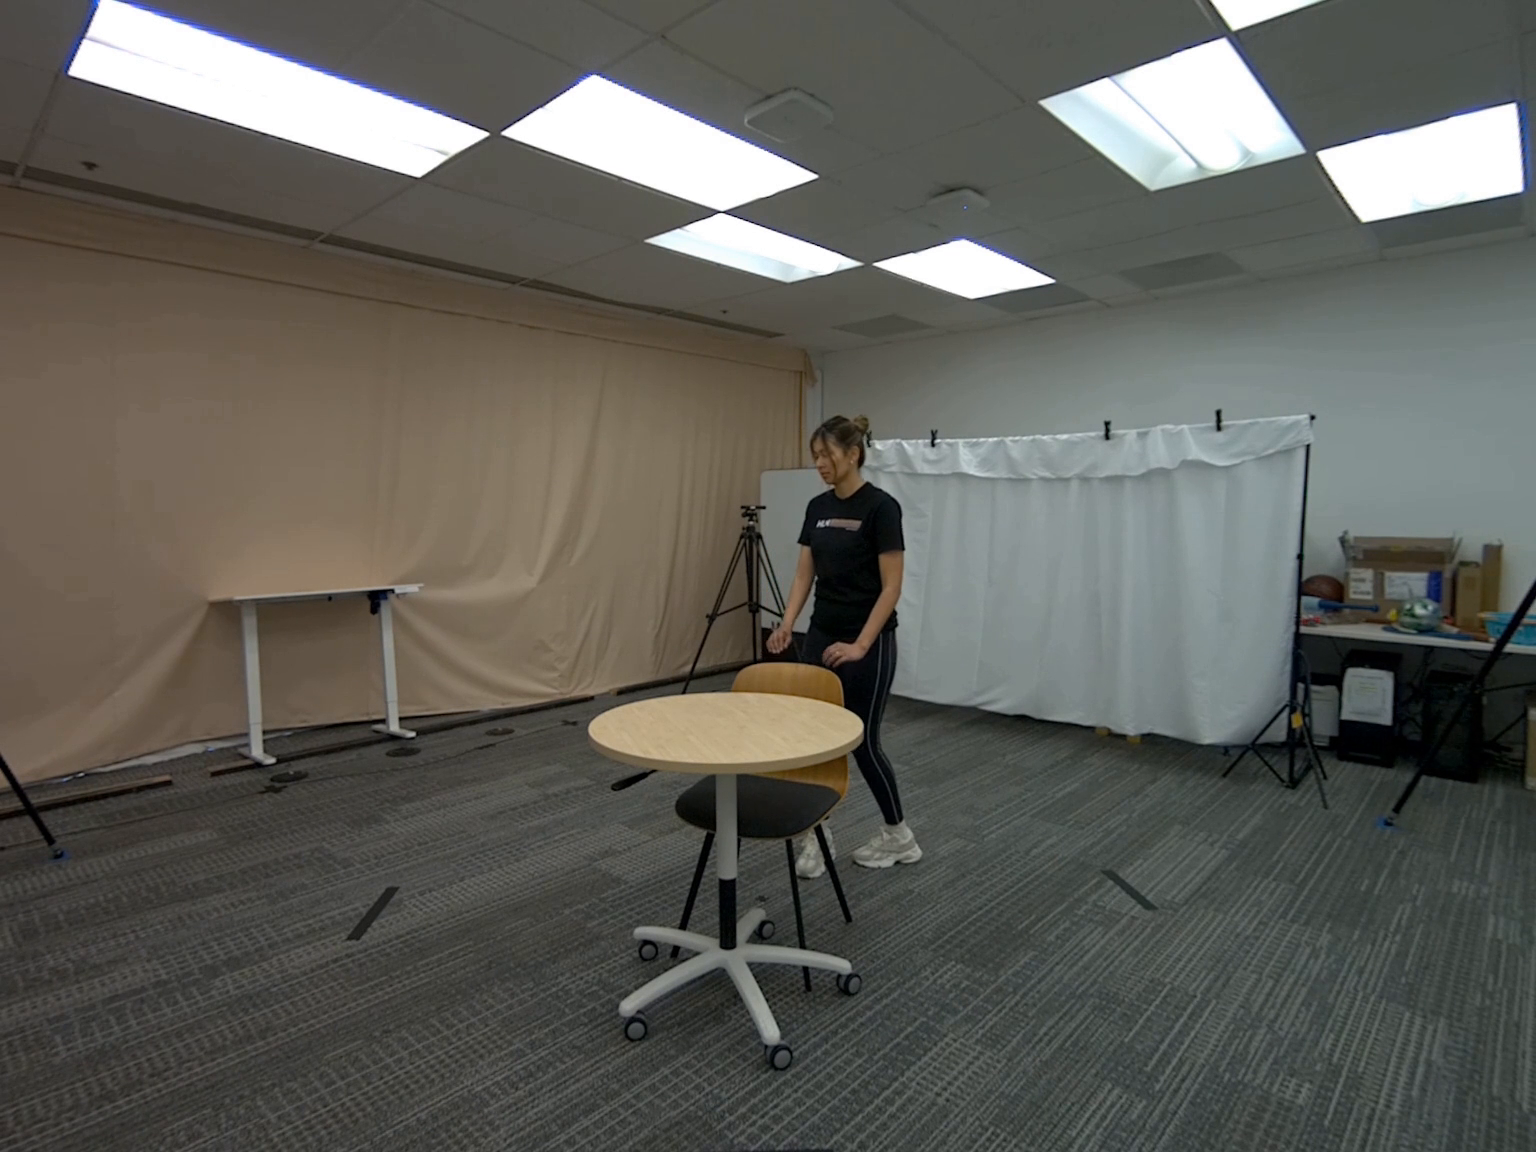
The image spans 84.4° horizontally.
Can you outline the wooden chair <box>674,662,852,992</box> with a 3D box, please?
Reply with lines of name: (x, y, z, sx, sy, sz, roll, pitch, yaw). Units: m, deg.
wooden chair: (-0.009, 0.742, 2.672, 0.490, 0.877, 0.510, 2, 0, 24)
